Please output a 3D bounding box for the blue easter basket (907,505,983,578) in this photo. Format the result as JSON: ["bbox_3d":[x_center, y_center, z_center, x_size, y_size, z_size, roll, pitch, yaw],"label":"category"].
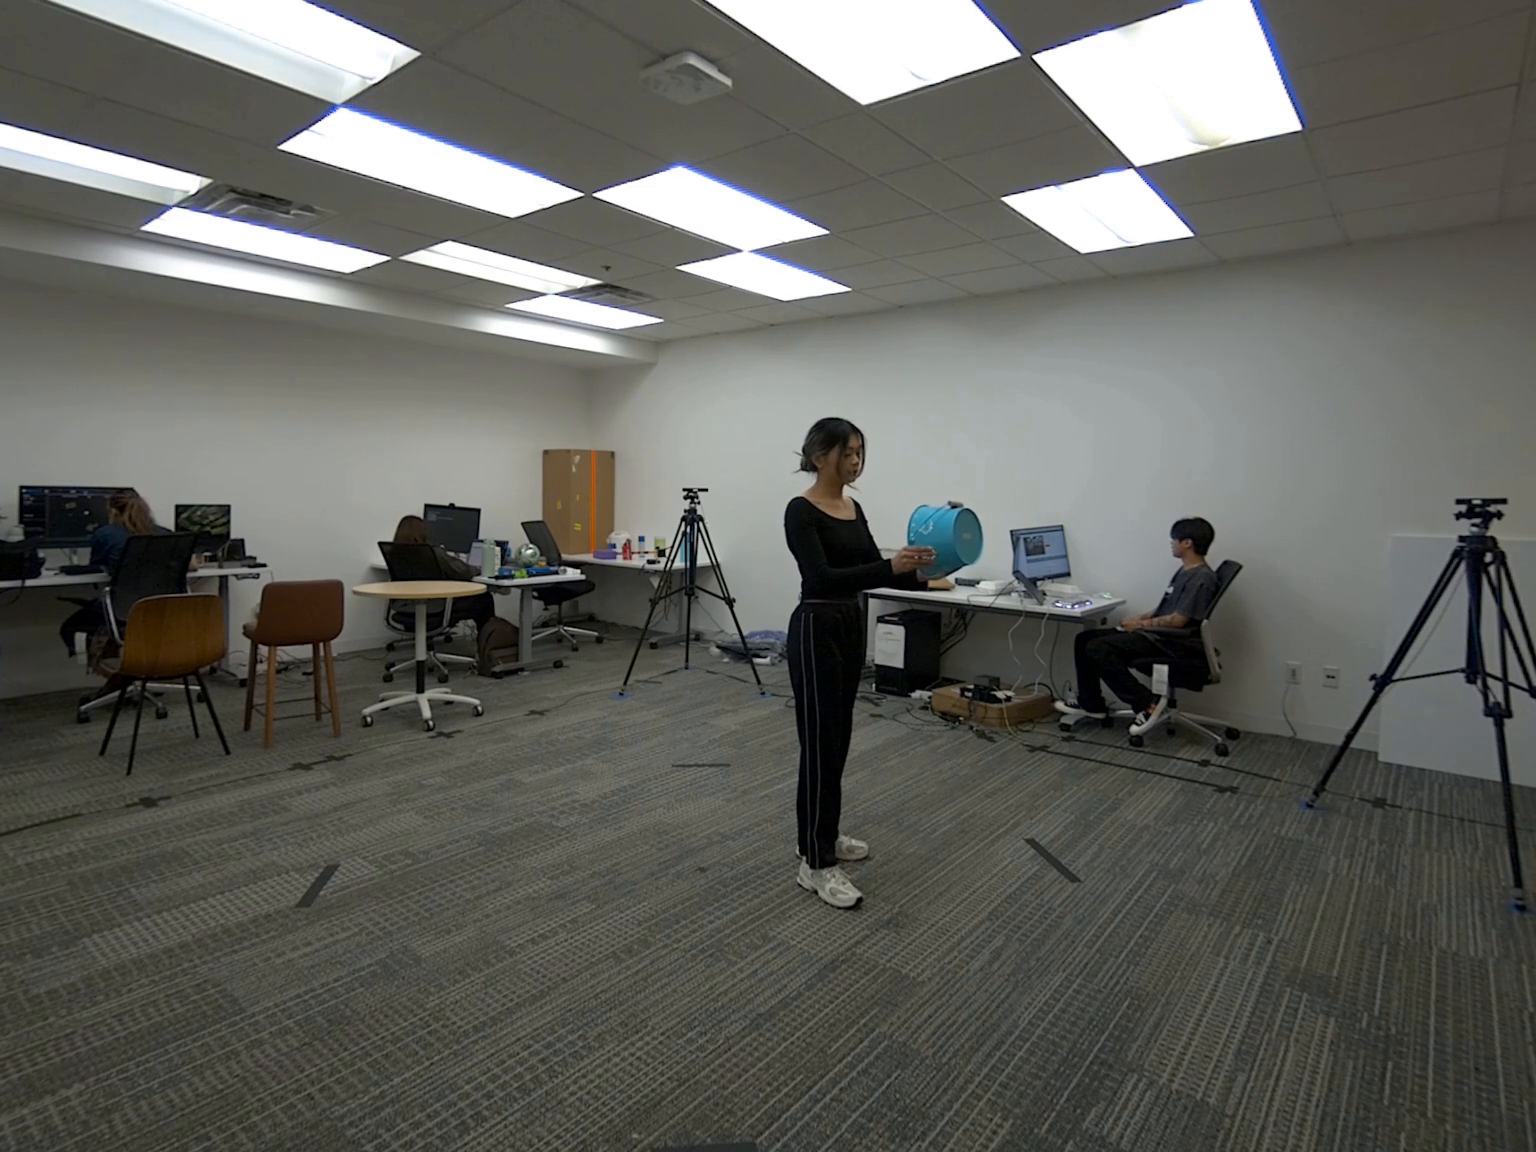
[{"bbox_3d":[0.568,-0.121,2.751,0.236,0.244,0.160,-3,-3,-44],"label":"blue easter basket"}]
